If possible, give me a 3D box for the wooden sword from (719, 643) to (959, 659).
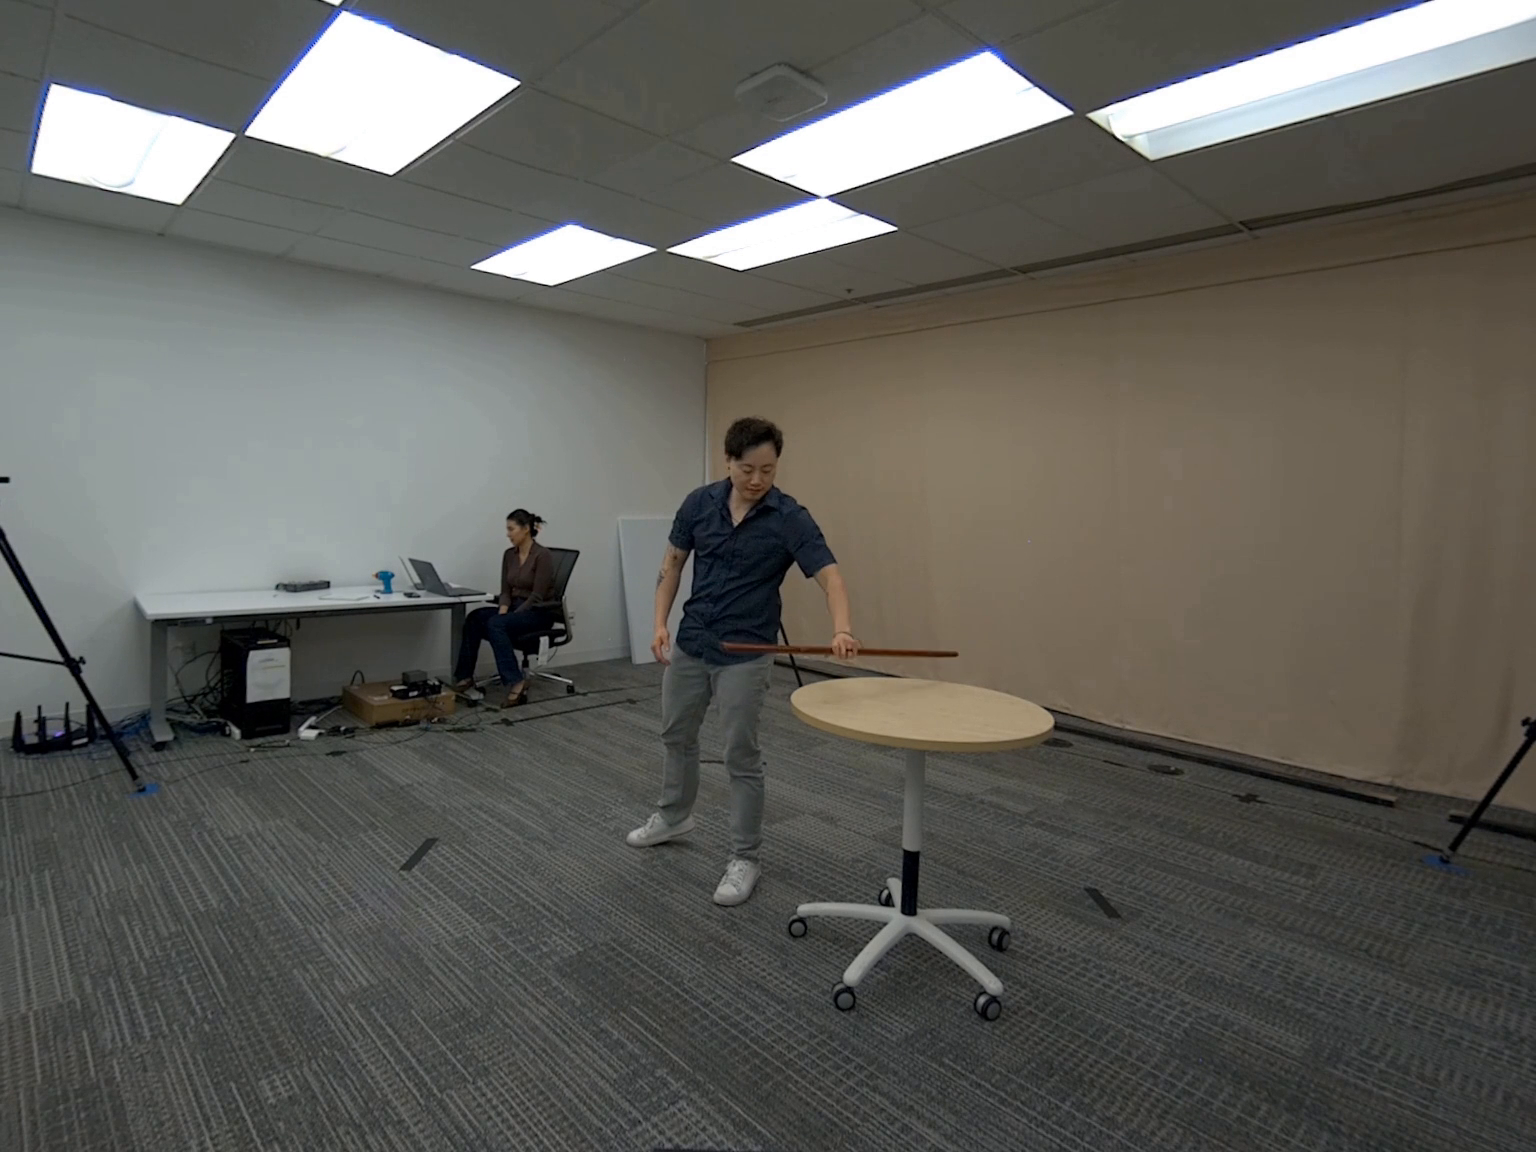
[{"bbox_3d":[0.239,0.234,2.647,1.001,0.052,0.024,6,-28,-32],"label":"wooden sword"}]
